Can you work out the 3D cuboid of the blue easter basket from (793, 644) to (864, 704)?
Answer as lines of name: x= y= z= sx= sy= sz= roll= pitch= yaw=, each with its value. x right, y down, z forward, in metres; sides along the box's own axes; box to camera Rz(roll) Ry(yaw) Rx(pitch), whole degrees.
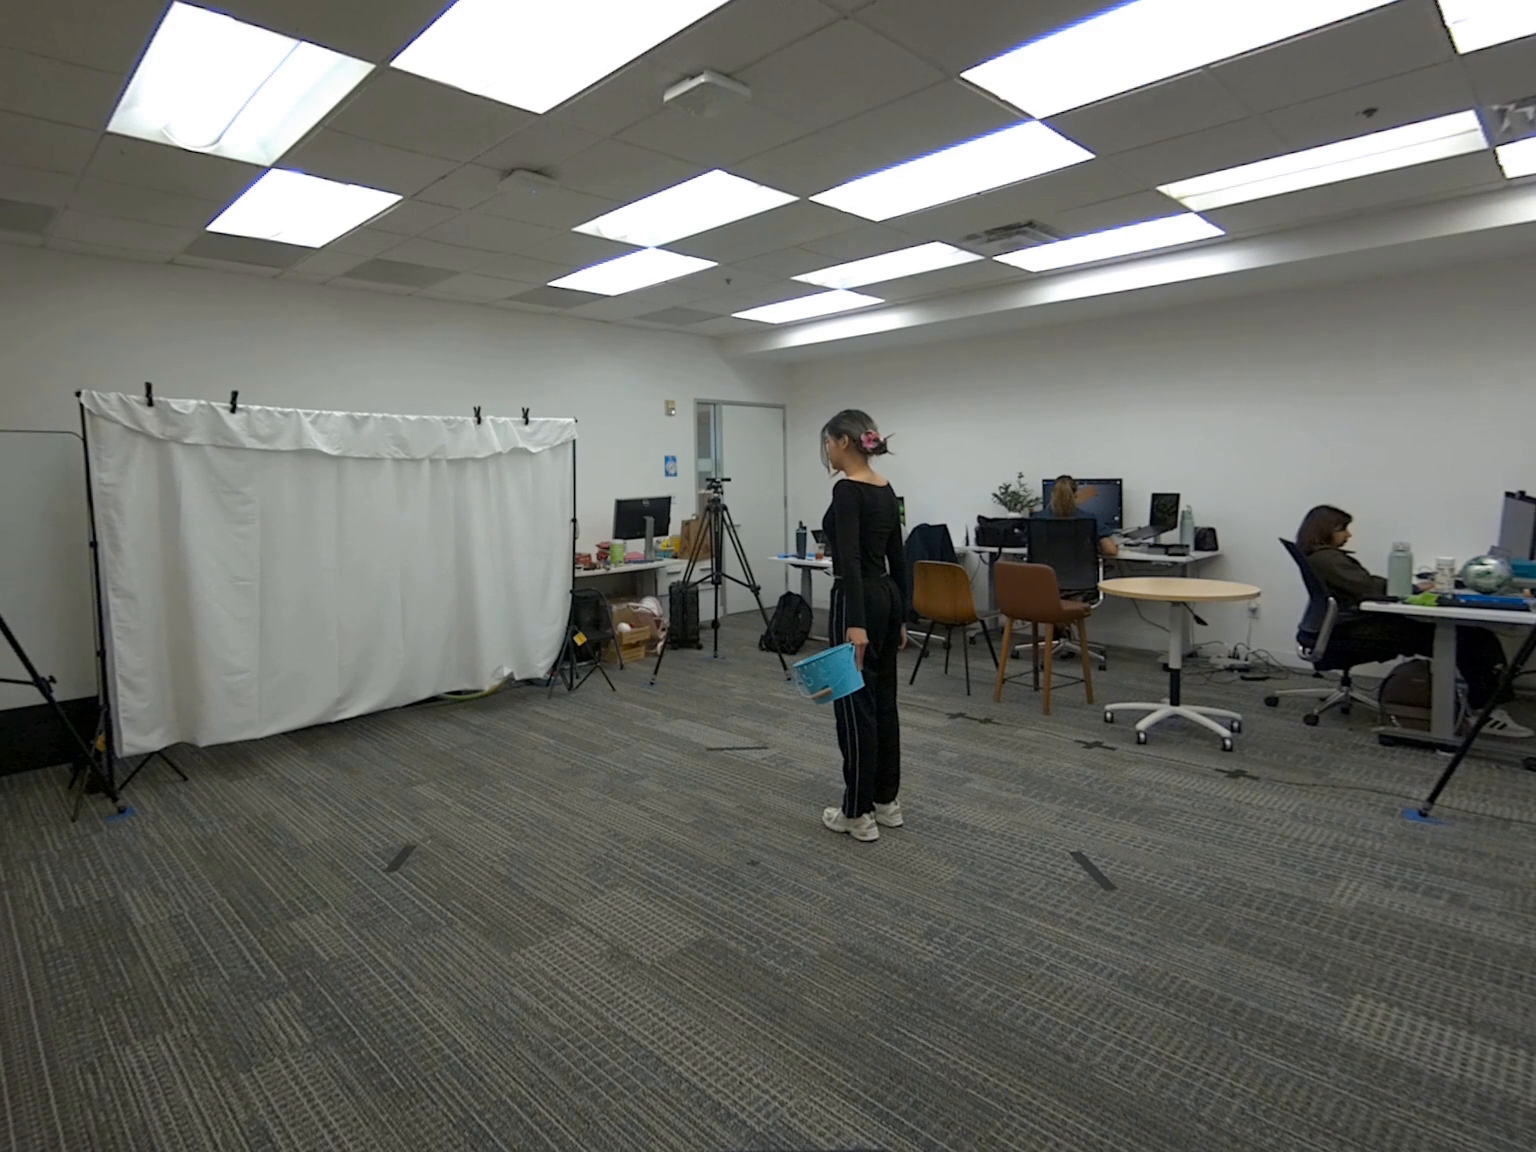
blue easter basket: x=0.210 y=0.345 z=2.950 sx=0.243 sy=0.157 sz=0.242 roll=-22 pitch=-4 yaw=-4
